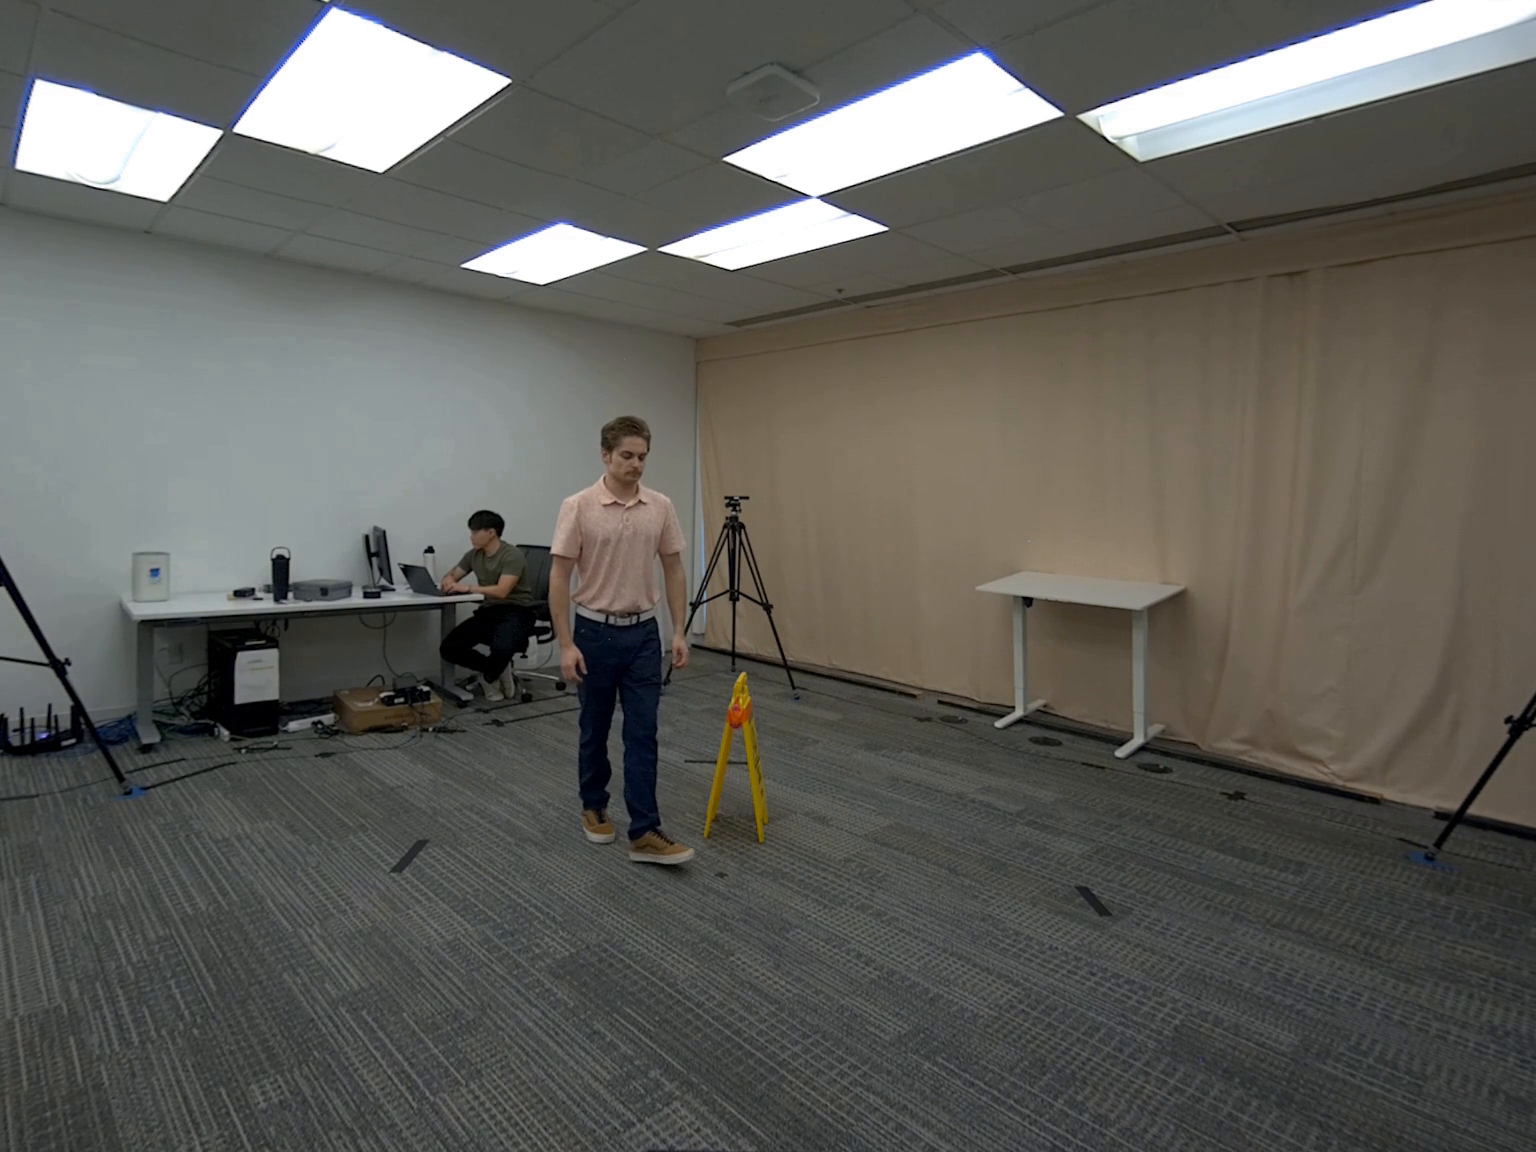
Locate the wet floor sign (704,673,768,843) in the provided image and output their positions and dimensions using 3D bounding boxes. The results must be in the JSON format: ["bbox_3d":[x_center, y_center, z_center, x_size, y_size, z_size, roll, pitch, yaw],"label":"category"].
[{"bbox_3d":[-0.124,0.740,3.534,0.291,0.644,0.282,2,4,5],"label":"wet floor sign"}]
